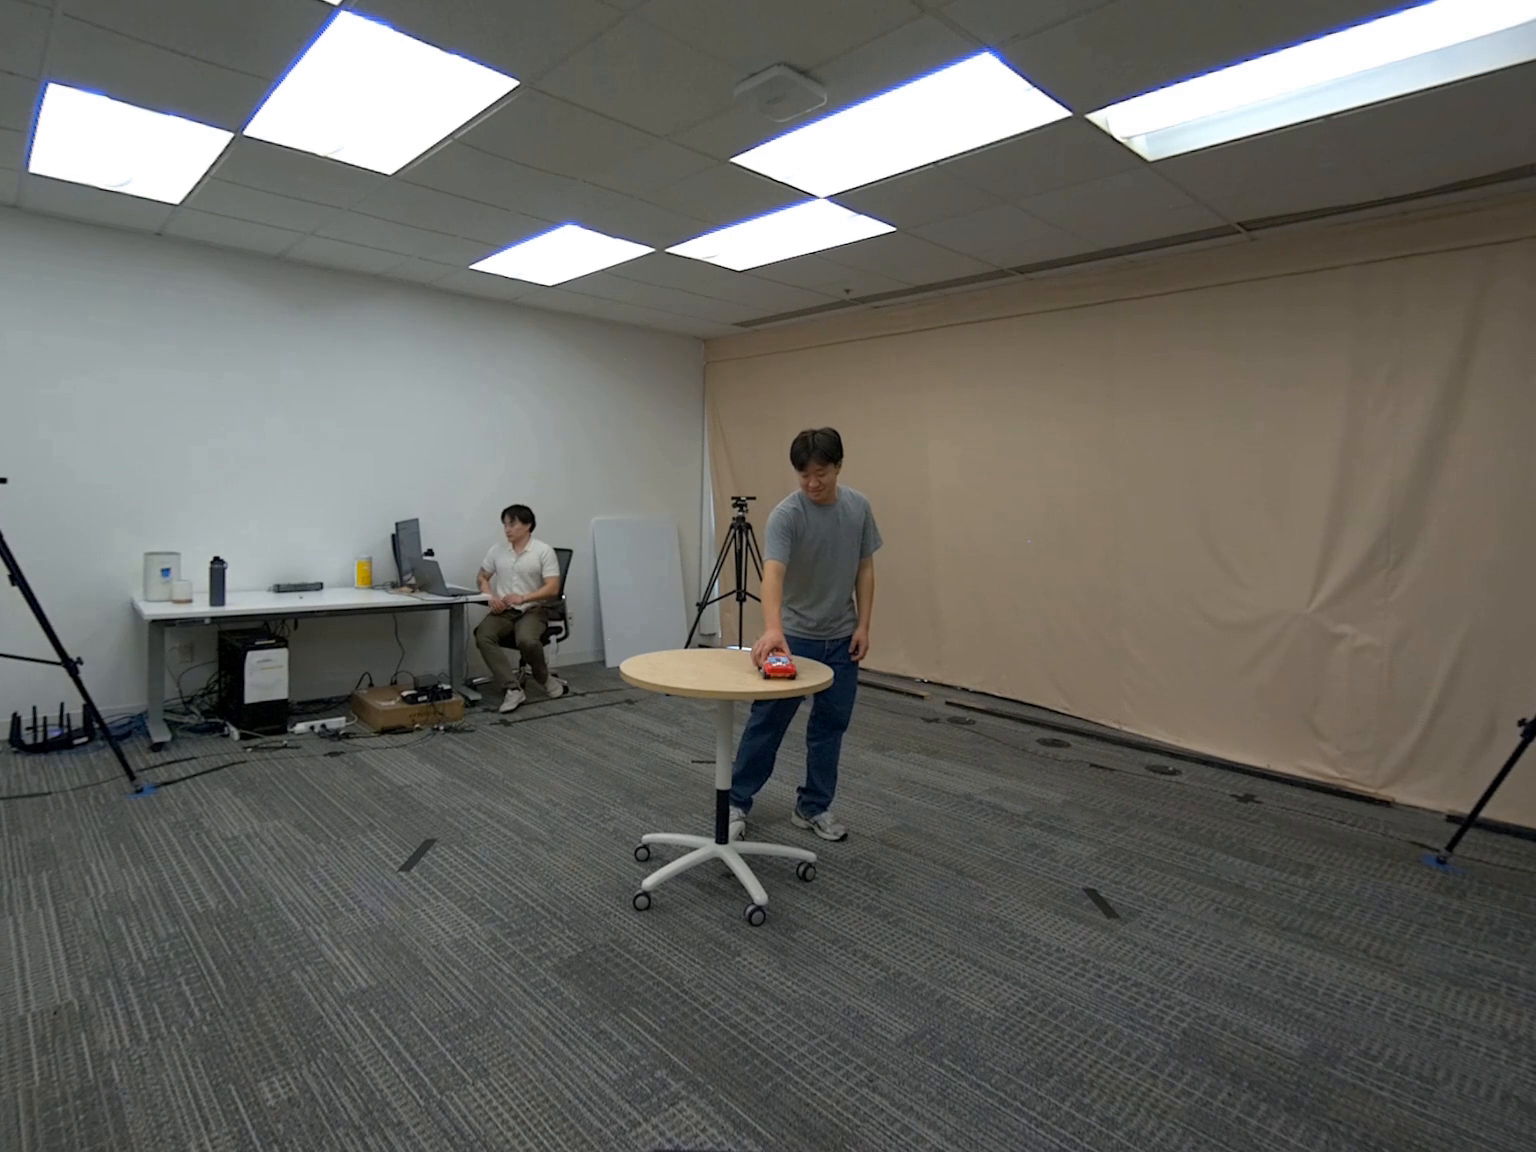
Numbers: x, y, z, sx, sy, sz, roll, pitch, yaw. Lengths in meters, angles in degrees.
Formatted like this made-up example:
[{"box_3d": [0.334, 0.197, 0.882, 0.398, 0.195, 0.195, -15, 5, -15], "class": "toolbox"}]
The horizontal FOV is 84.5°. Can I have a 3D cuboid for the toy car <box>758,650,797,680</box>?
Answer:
[{"box_3d": [0.013, 0.307, 2.950, 0.130, 0.082, 0.257, 2, 13, -5], "class": "toy car"}]
